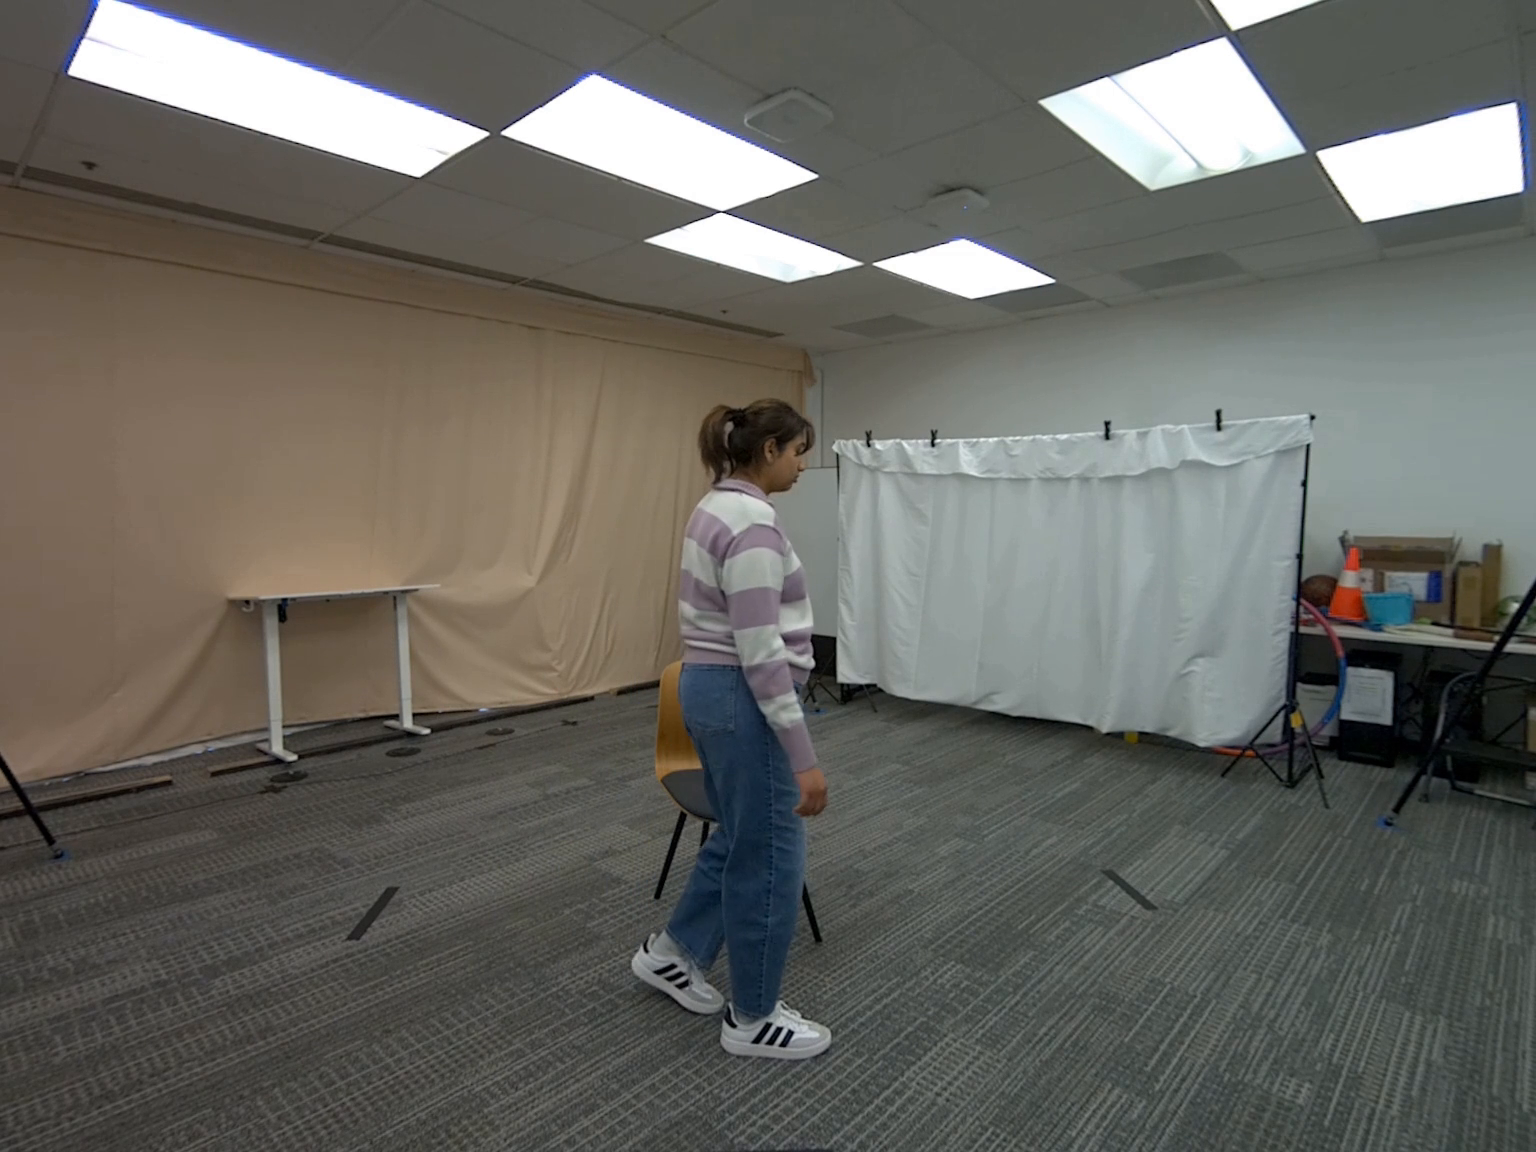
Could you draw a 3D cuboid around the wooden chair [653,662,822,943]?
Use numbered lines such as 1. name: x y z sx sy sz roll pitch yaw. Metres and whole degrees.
1. wooden chair: -0.111 0.731 2.795 0.469 0.878 0.532 -1 -1 -18
